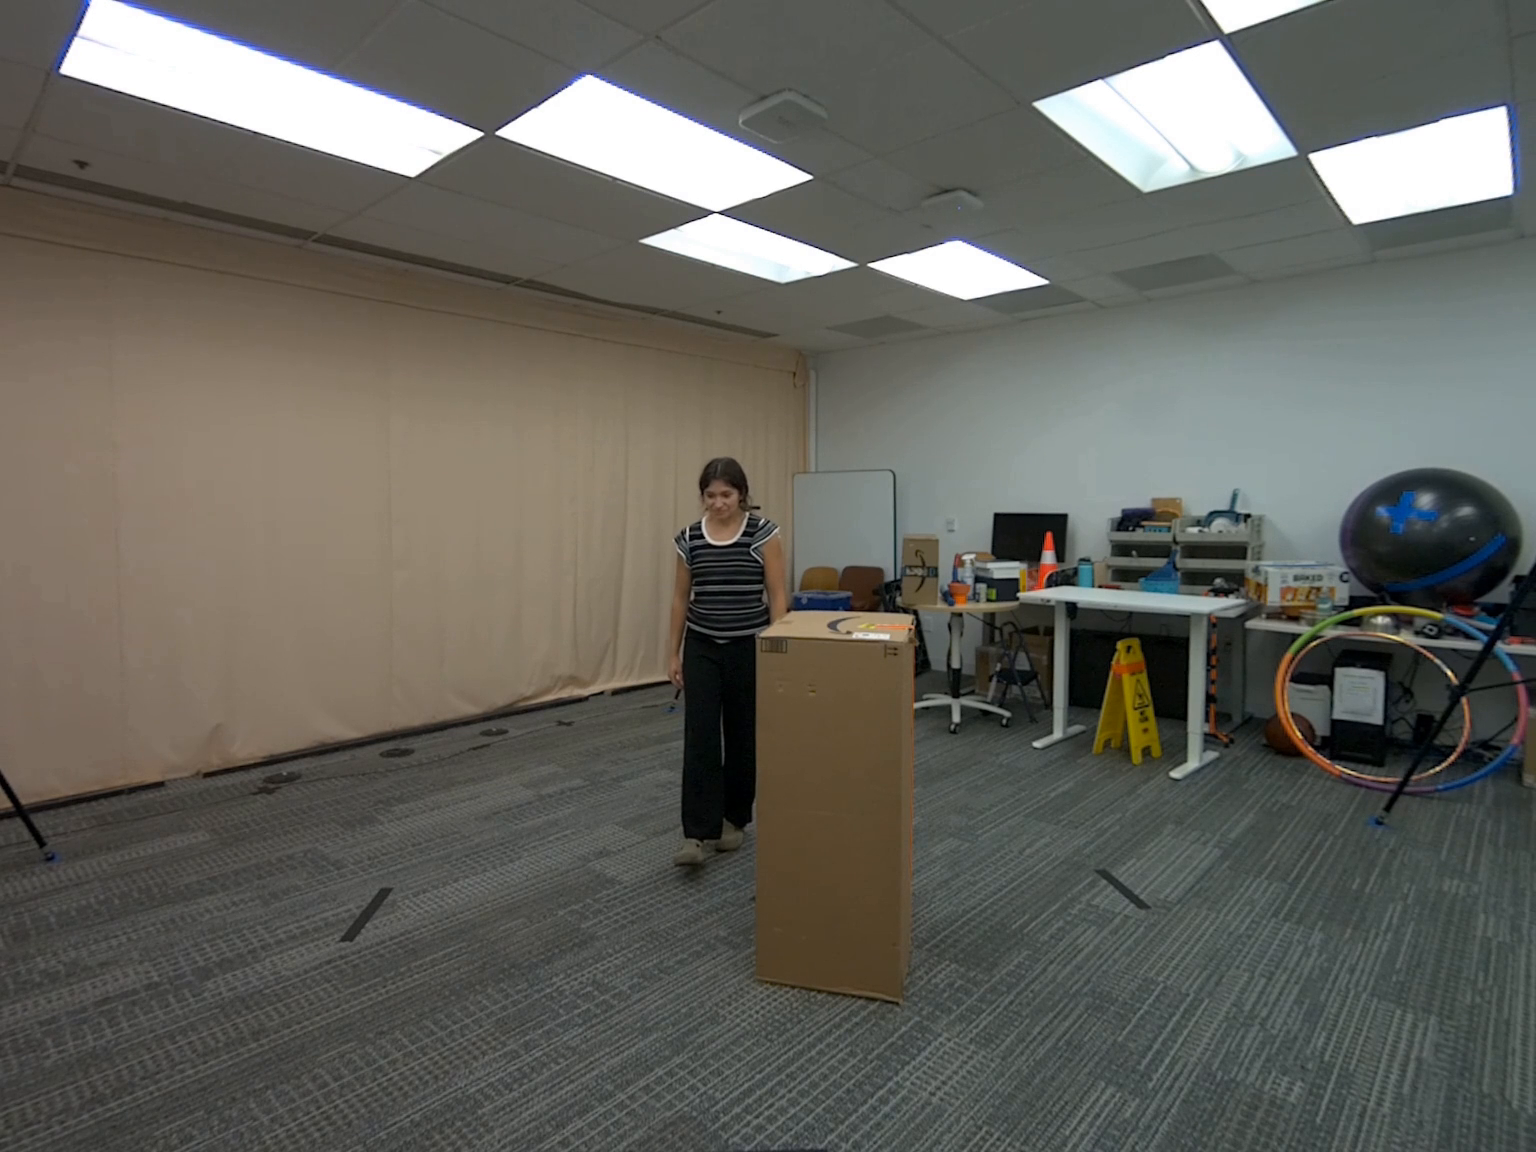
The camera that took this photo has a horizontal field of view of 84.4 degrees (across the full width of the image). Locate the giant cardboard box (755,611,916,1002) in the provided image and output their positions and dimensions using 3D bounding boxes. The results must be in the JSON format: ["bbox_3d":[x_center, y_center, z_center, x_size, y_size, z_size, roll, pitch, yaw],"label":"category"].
[{"bbox_3d":[0.234,0.661,2.657,0.433,1.024,0.569,1,3,14],"label":"giant cardboard box"}]
